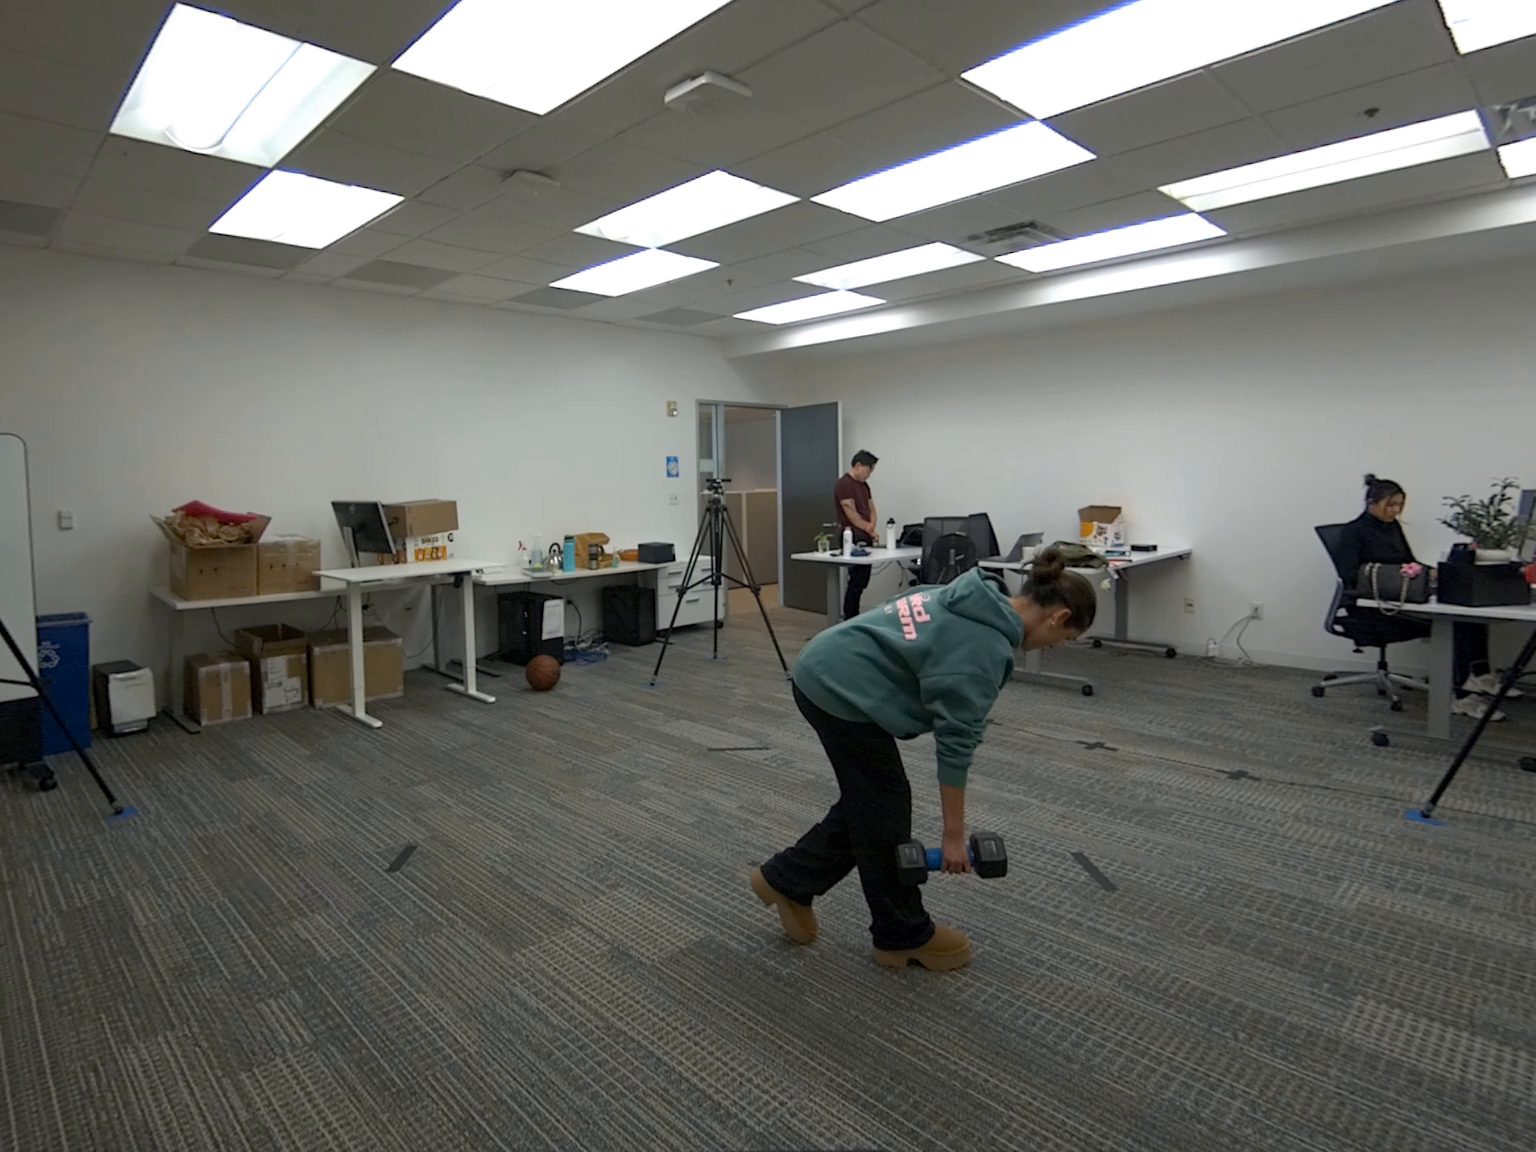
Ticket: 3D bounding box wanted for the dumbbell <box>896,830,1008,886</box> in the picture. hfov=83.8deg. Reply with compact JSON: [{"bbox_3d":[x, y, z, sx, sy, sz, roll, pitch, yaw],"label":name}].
[{"bbox_3d":[0.500,0.769,2.319,0.294,0.120,0.111,-6,23,3],"label":"dumbbell"}]
